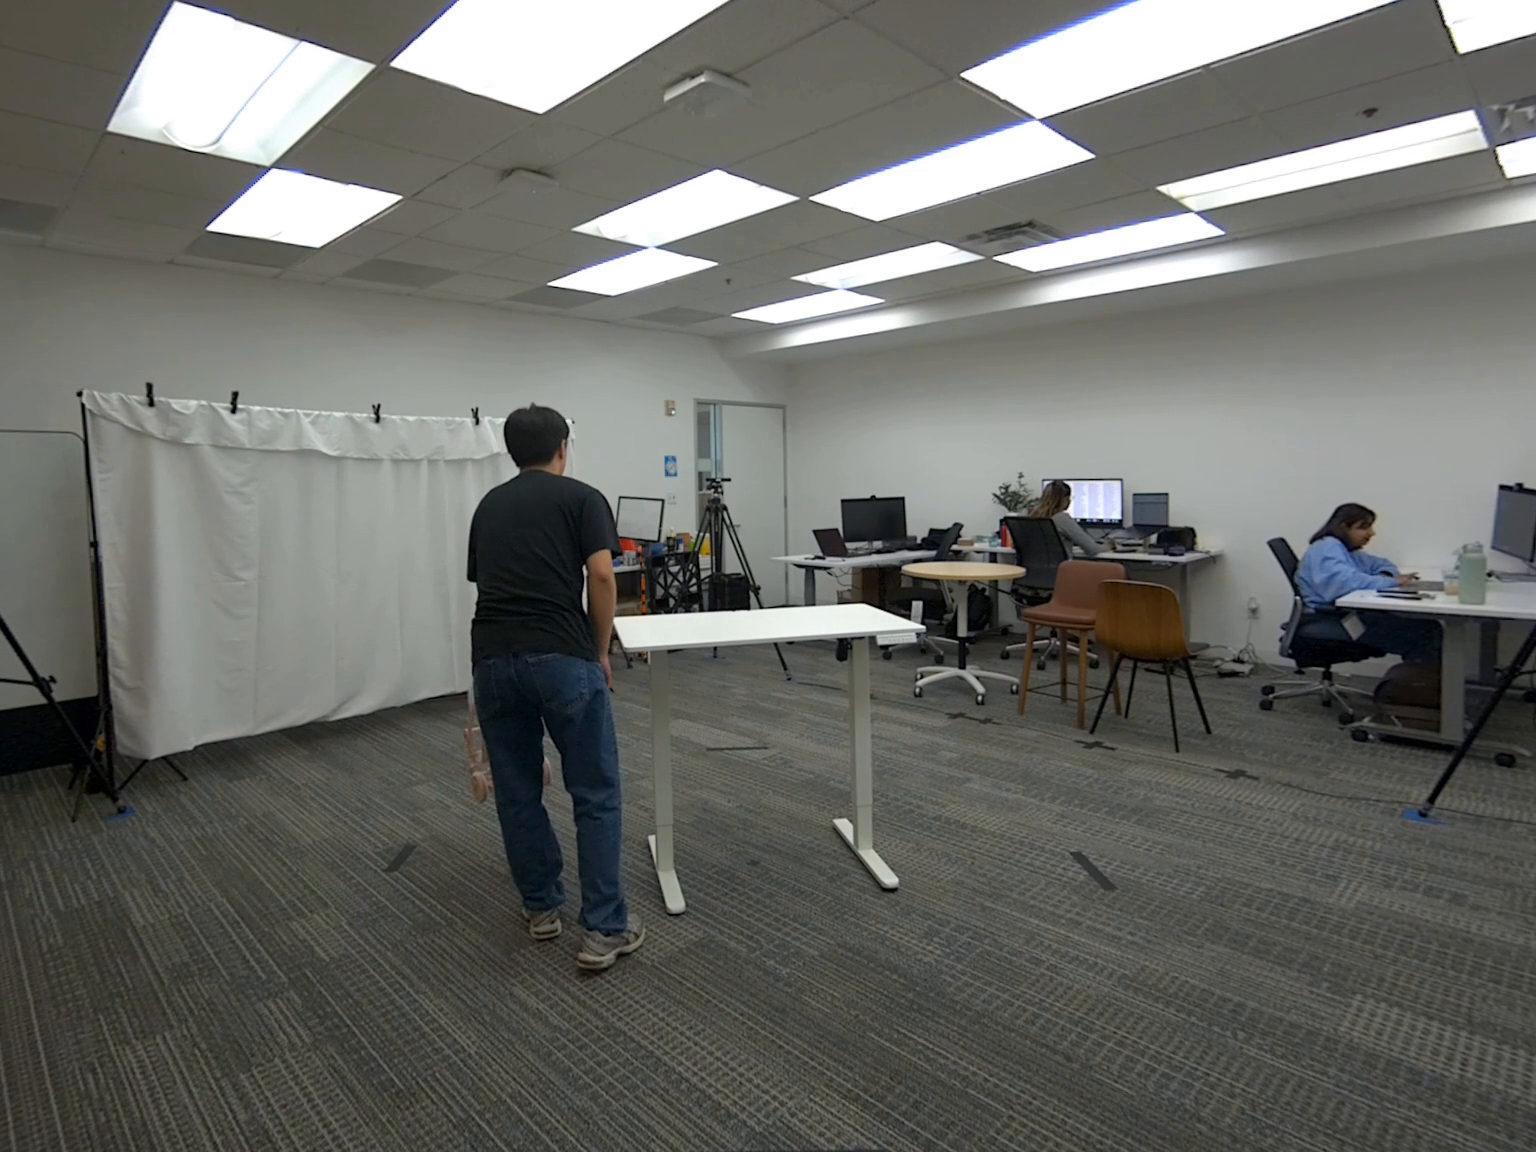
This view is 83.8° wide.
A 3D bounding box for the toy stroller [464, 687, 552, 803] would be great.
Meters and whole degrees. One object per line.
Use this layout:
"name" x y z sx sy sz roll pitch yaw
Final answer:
"toy stroller" -1.013 0.591 3.215 0.275 0.533 0.350 -6 4 -32
